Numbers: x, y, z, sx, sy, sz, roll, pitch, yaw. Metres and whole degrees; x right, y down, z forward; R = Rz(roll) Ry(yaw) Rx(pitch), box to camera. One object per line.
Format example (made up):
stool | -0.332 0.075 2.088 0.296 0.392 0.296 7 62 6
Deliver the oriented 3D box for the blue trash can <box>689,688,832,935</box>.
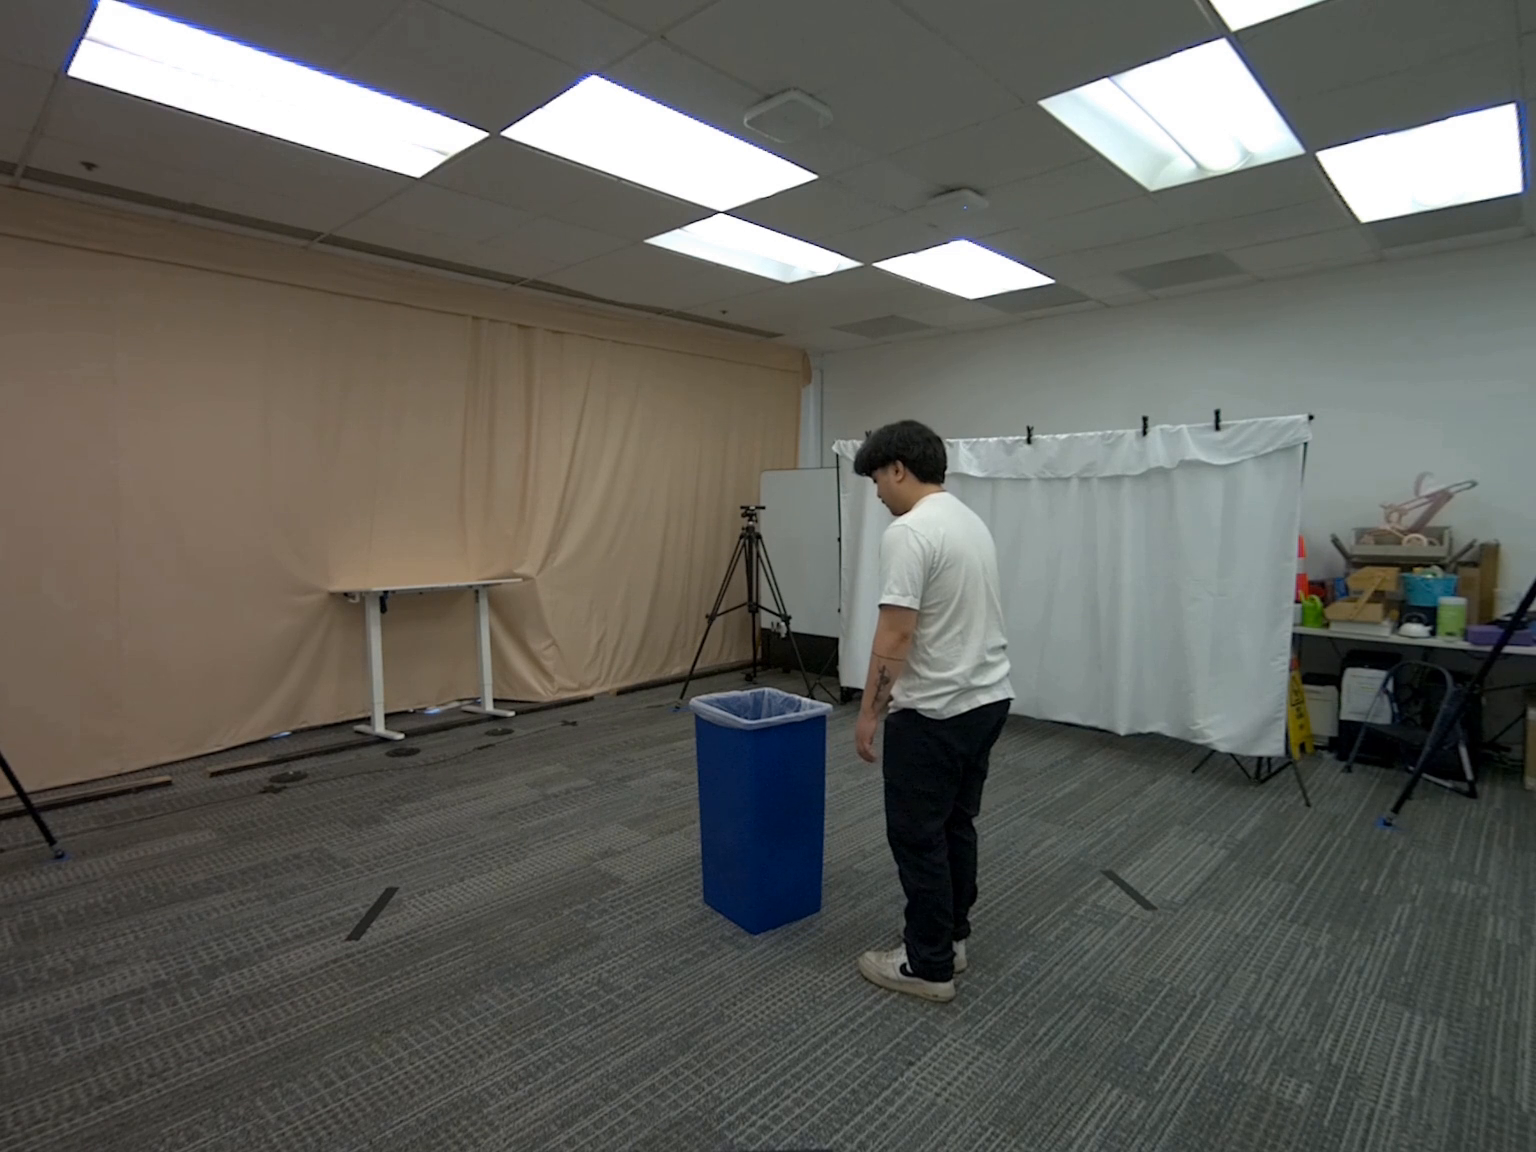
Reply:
blue trash can | -0.026 0.791 2.907 0.363 0.712 0.390 -2 4 -37
